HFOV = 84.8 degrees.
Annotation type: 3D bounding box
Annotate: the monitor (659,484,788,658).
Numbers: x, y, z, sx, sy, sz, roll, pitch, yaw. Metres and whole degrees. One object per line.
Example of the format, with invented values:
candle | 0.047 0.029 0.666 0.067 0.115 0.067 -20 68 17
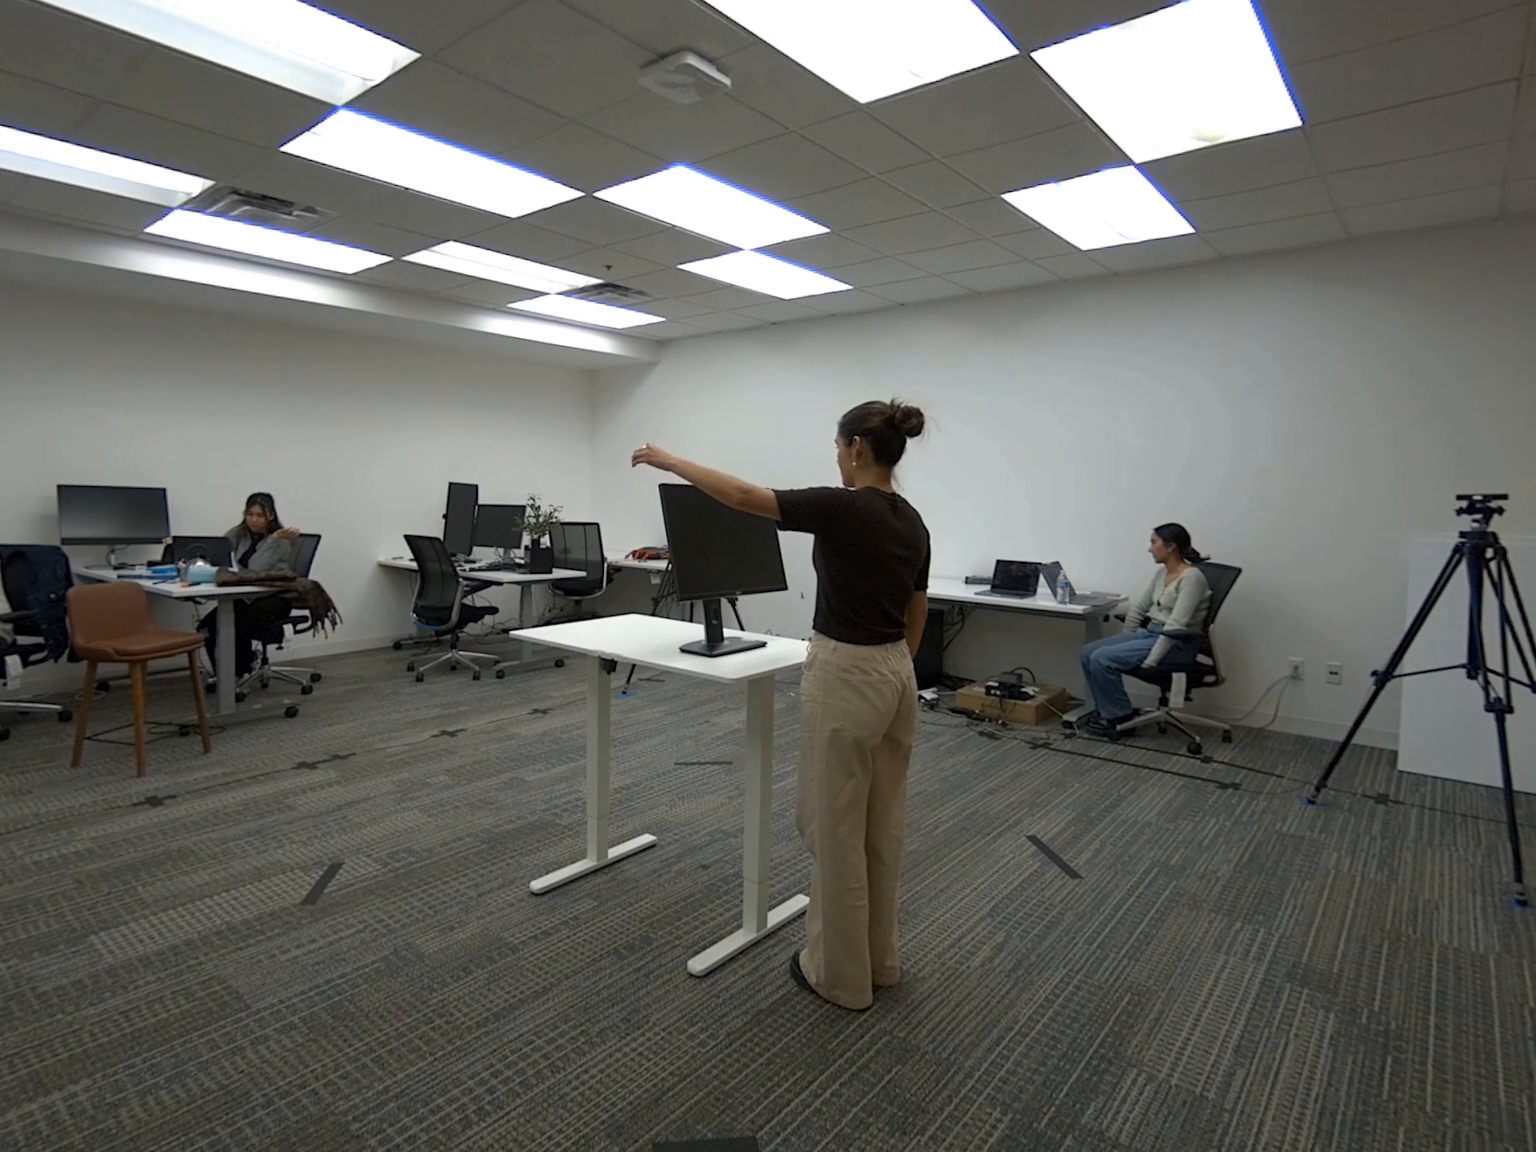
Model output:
monitor | -0.159 -0.024 2.685 0.193 0.522 0.523 0 2 36
